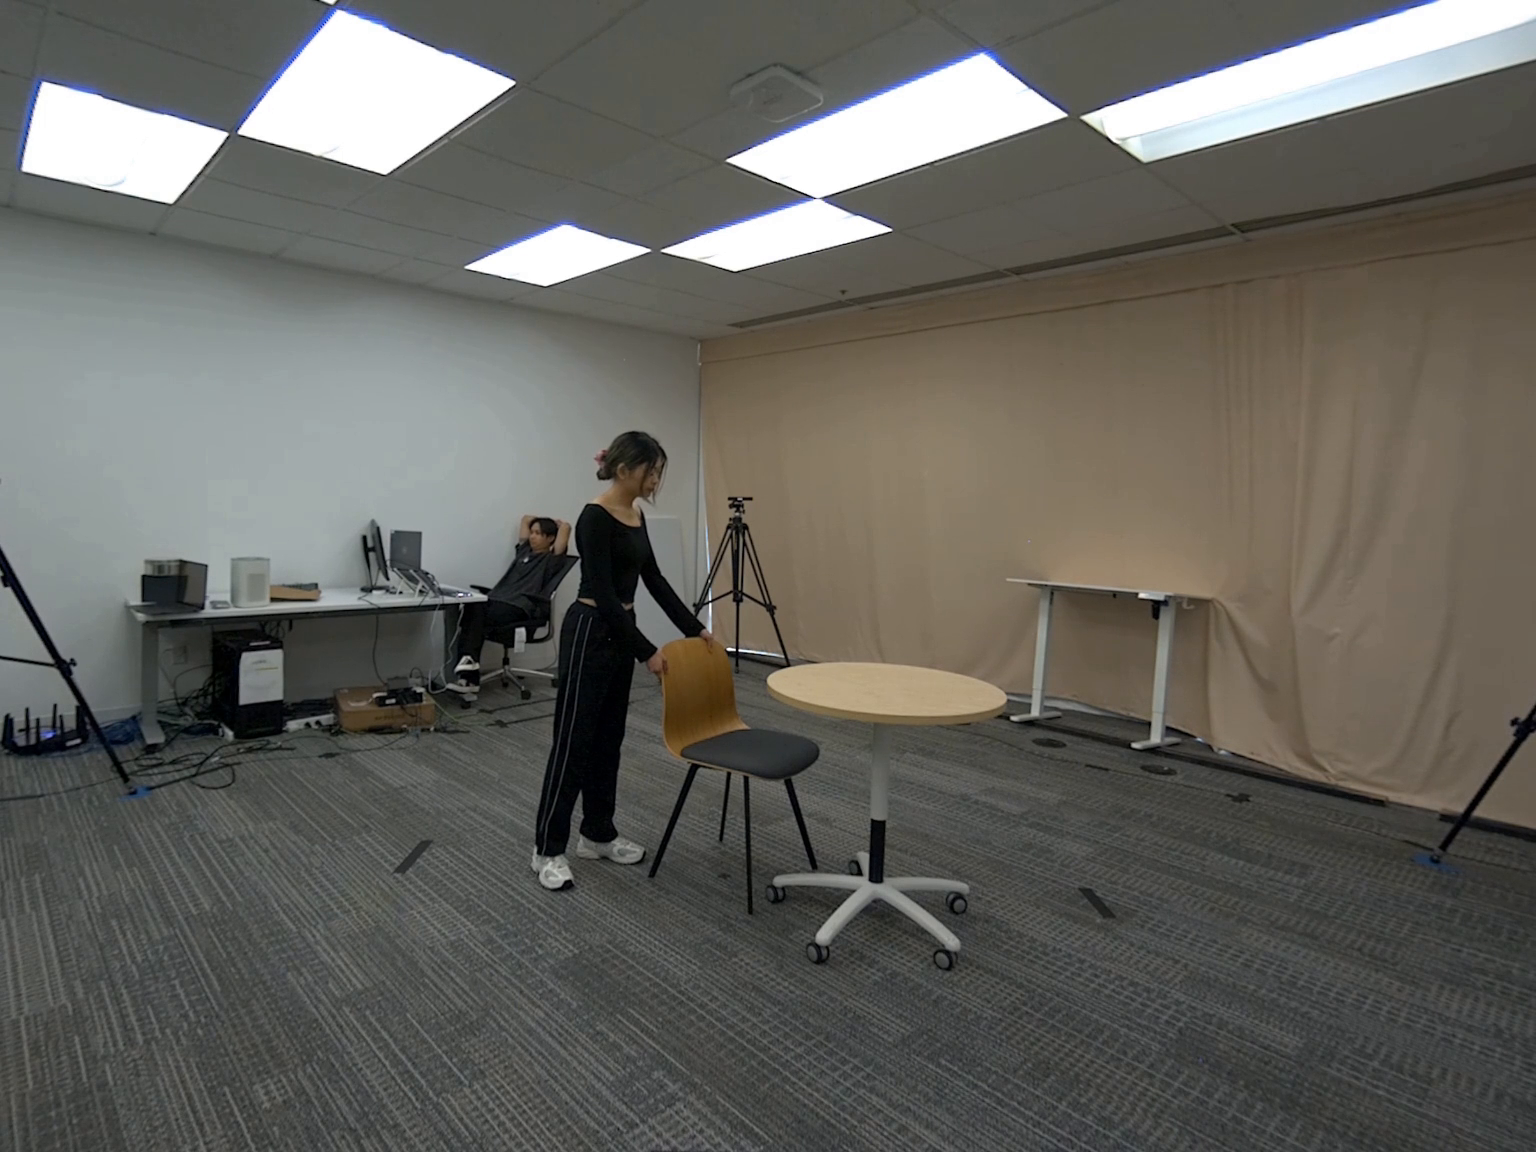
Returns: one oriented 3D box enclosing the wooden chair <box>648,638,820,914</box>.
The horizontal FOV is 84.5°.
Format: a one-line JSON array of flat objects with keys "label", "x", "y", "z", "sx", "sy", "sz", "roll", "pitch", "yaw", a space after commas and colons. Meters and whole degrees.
[{"label": "wooden chair", "x": -0.115, "y": 0.680, "z": 3.092, "sx": 0.534, "sy": 0.877, "sz": 0.468, "roll": -2, "pitch": 1, "yaw": 35}]
